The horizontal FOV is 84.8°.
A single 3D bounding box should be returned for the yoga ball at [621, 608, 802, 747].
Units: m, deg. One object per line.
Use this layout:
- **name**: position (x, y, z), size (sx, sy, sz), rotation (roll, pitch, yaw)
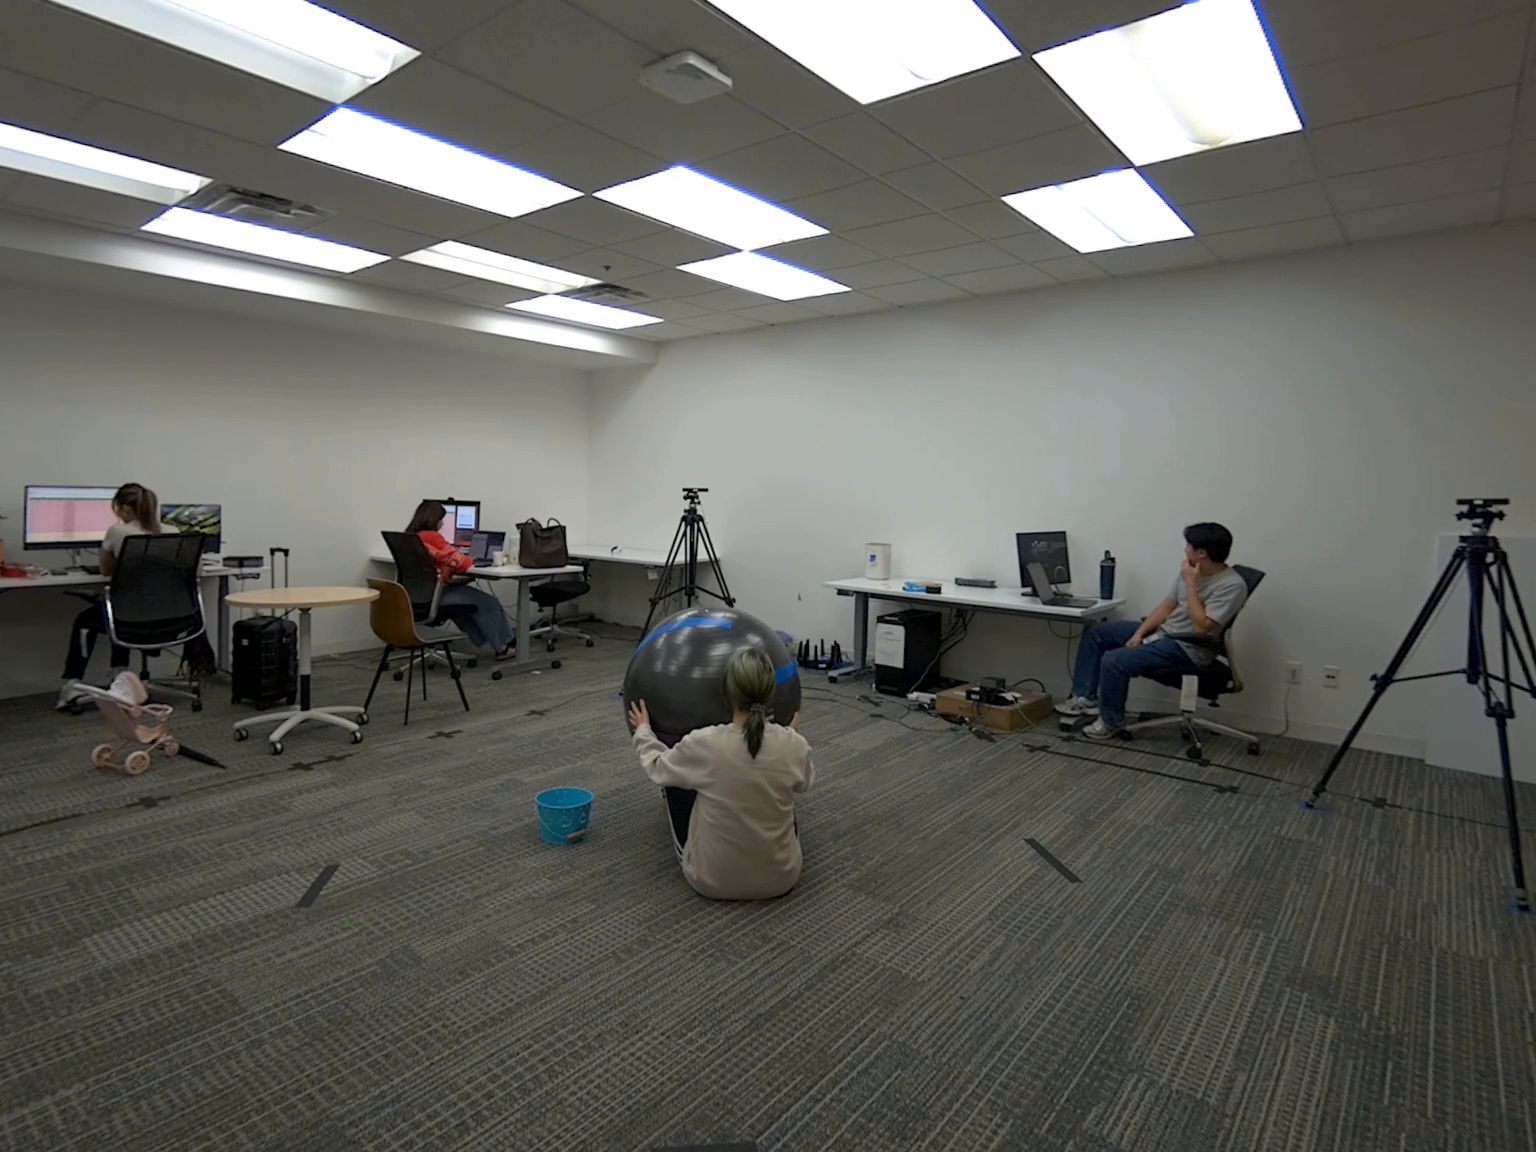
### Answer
- **yoga ball**: position (-0.248, 0.511, 3.623), size (0.757, 0.756, 0.761), rotation (1, 4, -2)
